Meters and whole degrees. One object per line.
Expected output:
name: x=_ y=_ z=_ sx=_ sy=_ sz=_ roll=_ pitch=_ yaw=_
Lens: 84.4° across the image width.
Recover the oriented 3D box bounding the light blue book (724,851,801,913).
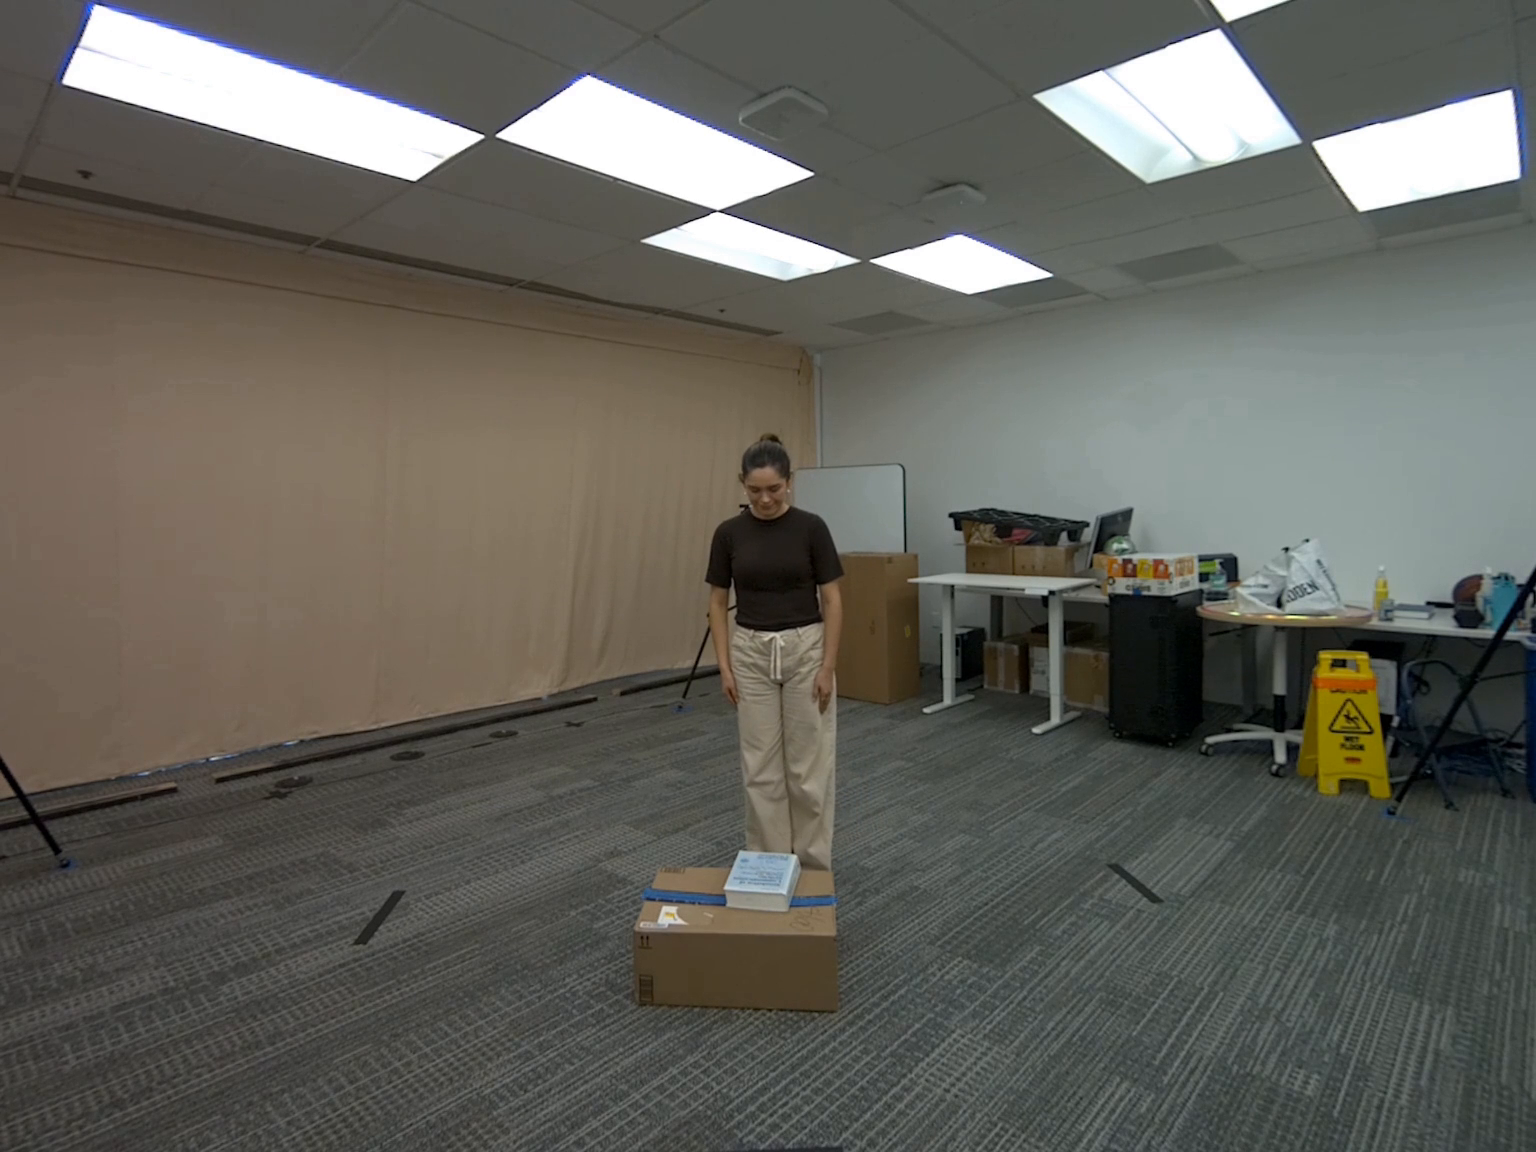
light blue book: x=-0.017 y=0.927 z=2.588 sx=0.194 sy=0.059 sz=0.258 roll=-1 pitch=6 yaw=11
